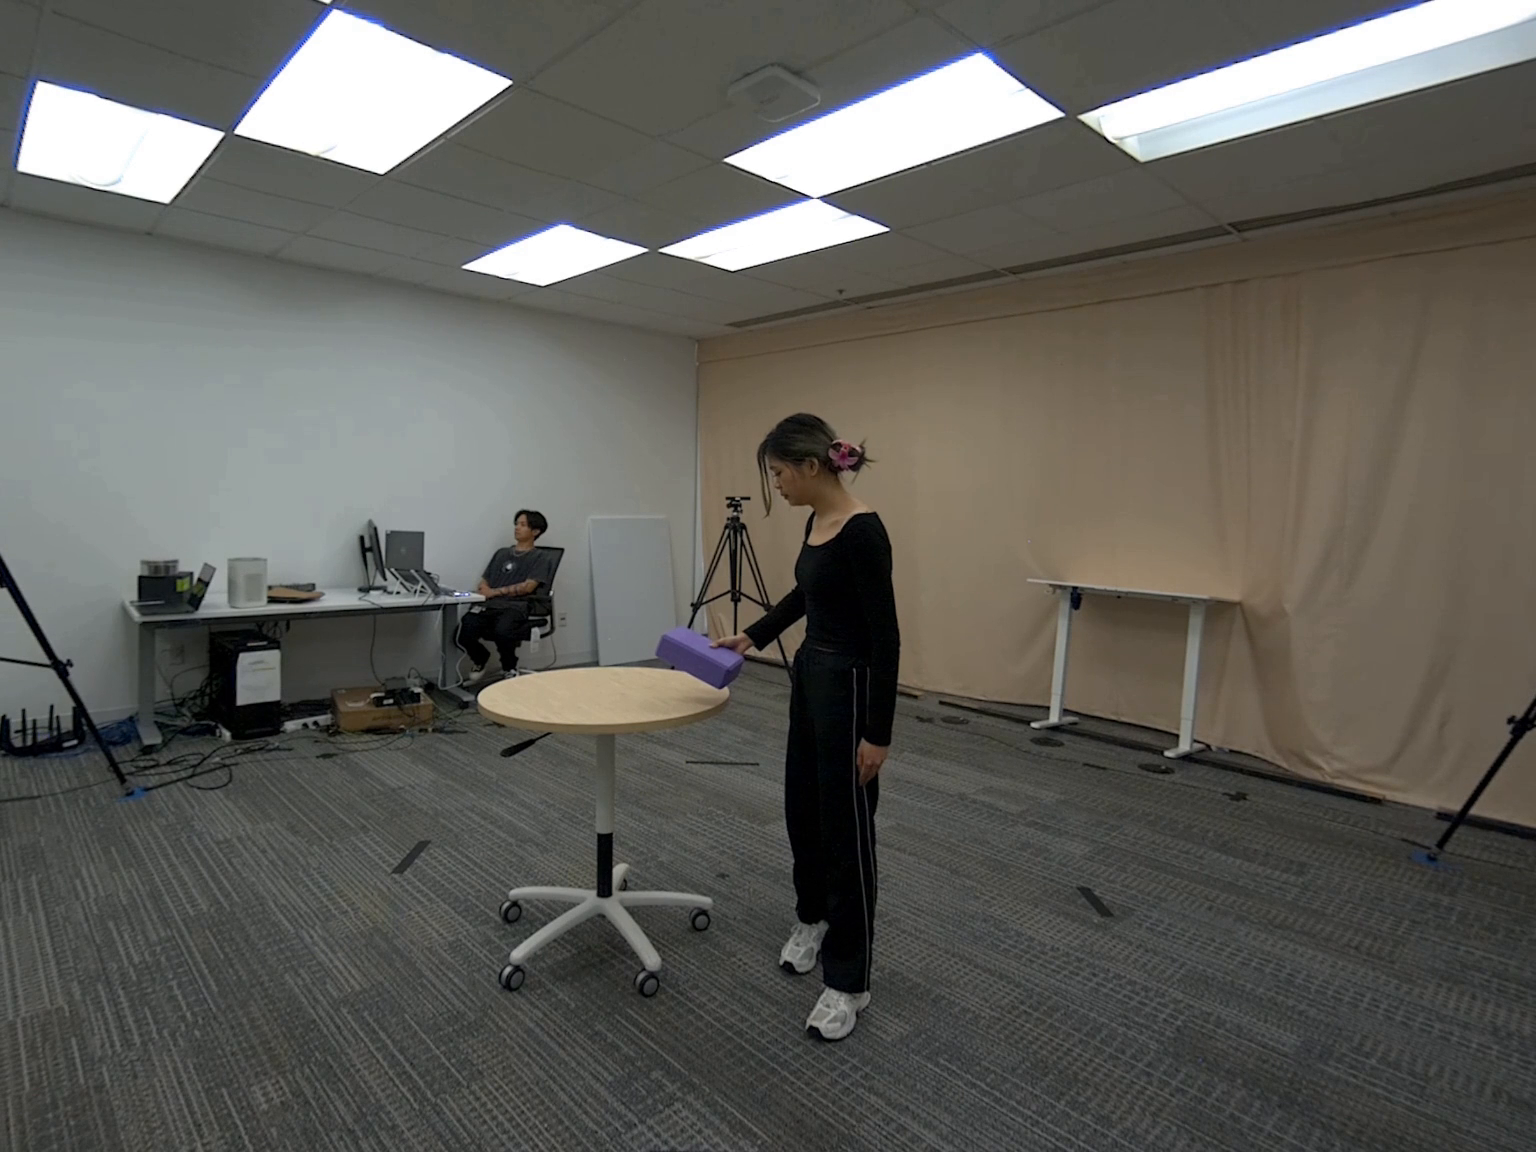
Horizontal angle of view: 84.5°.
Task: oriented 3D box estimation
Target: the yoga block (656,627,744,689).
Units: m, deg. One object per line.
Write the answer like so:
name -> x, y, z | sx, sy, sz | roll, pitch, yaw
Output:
yoga block -> -0.190, 0.235, 2.493 | 0.231, 0.076, 0.148 | 22, 11, 9
